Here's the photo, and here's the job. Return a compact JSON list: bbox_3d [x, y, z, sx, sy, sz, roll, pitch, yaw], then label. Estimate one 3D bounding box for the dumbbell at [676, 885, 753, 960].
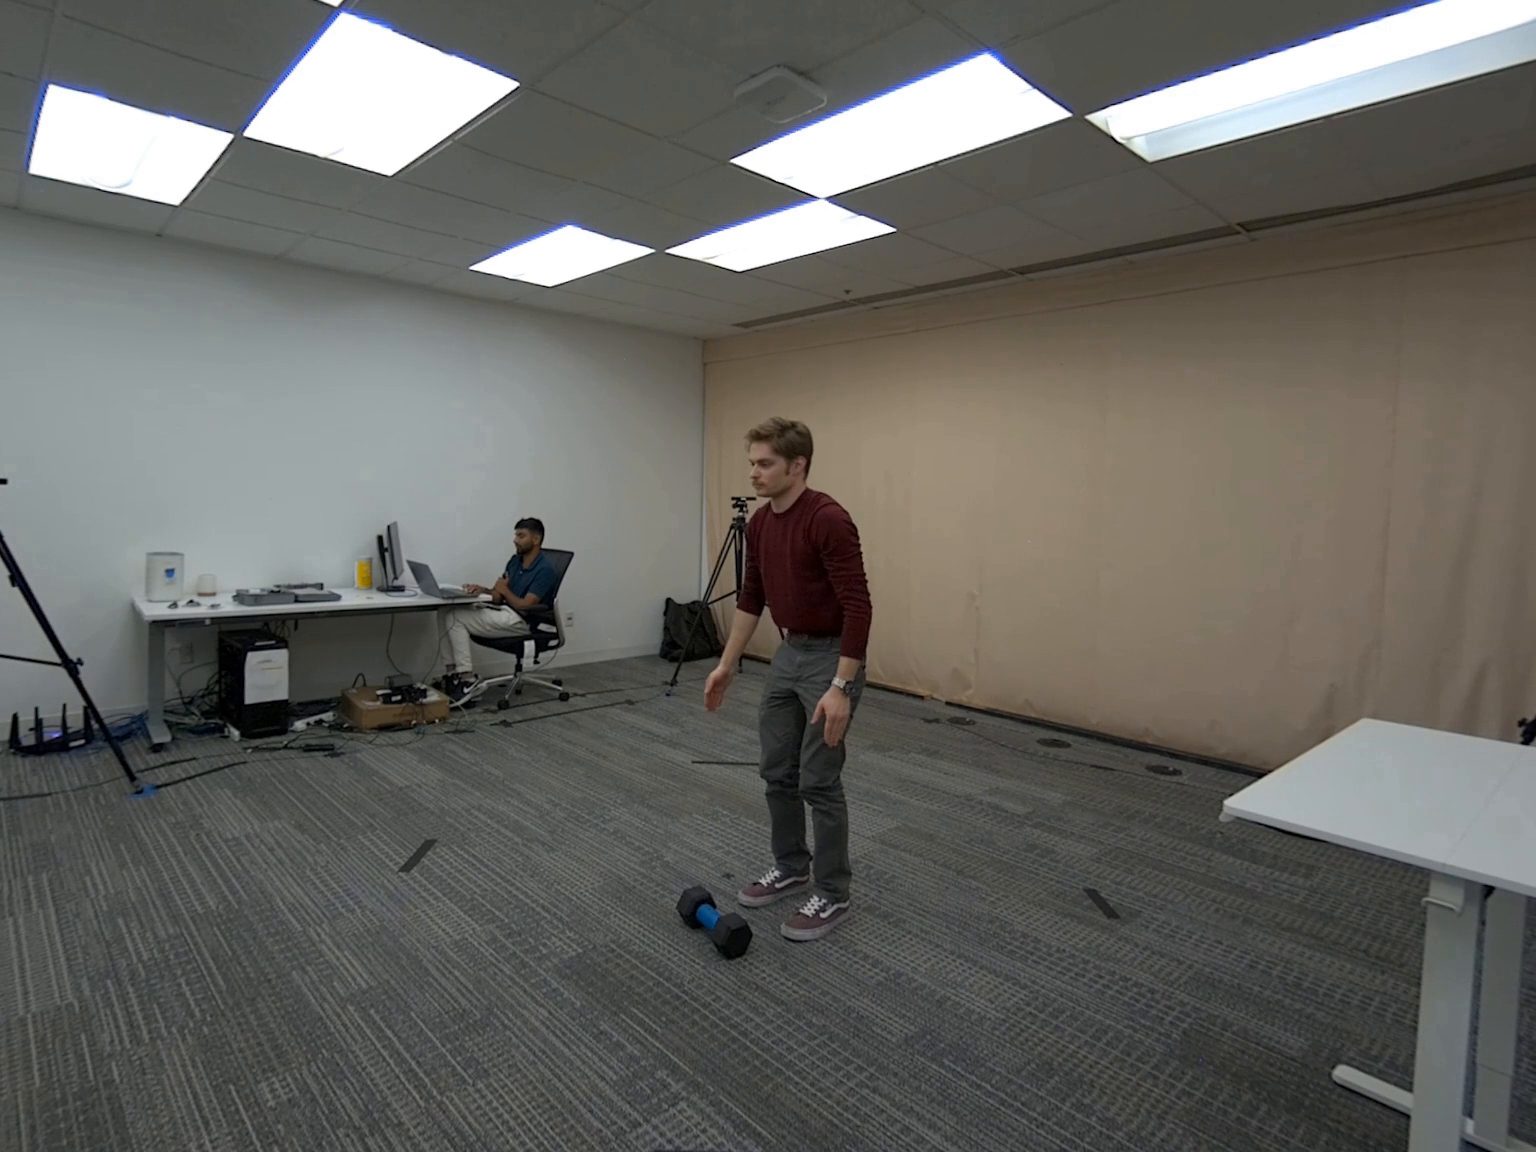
[{"bbox_3d":[-0.176,1.091,2.660,0.106,0.123,0.301,30,-11,-31],"label":"dumbbell"}]
